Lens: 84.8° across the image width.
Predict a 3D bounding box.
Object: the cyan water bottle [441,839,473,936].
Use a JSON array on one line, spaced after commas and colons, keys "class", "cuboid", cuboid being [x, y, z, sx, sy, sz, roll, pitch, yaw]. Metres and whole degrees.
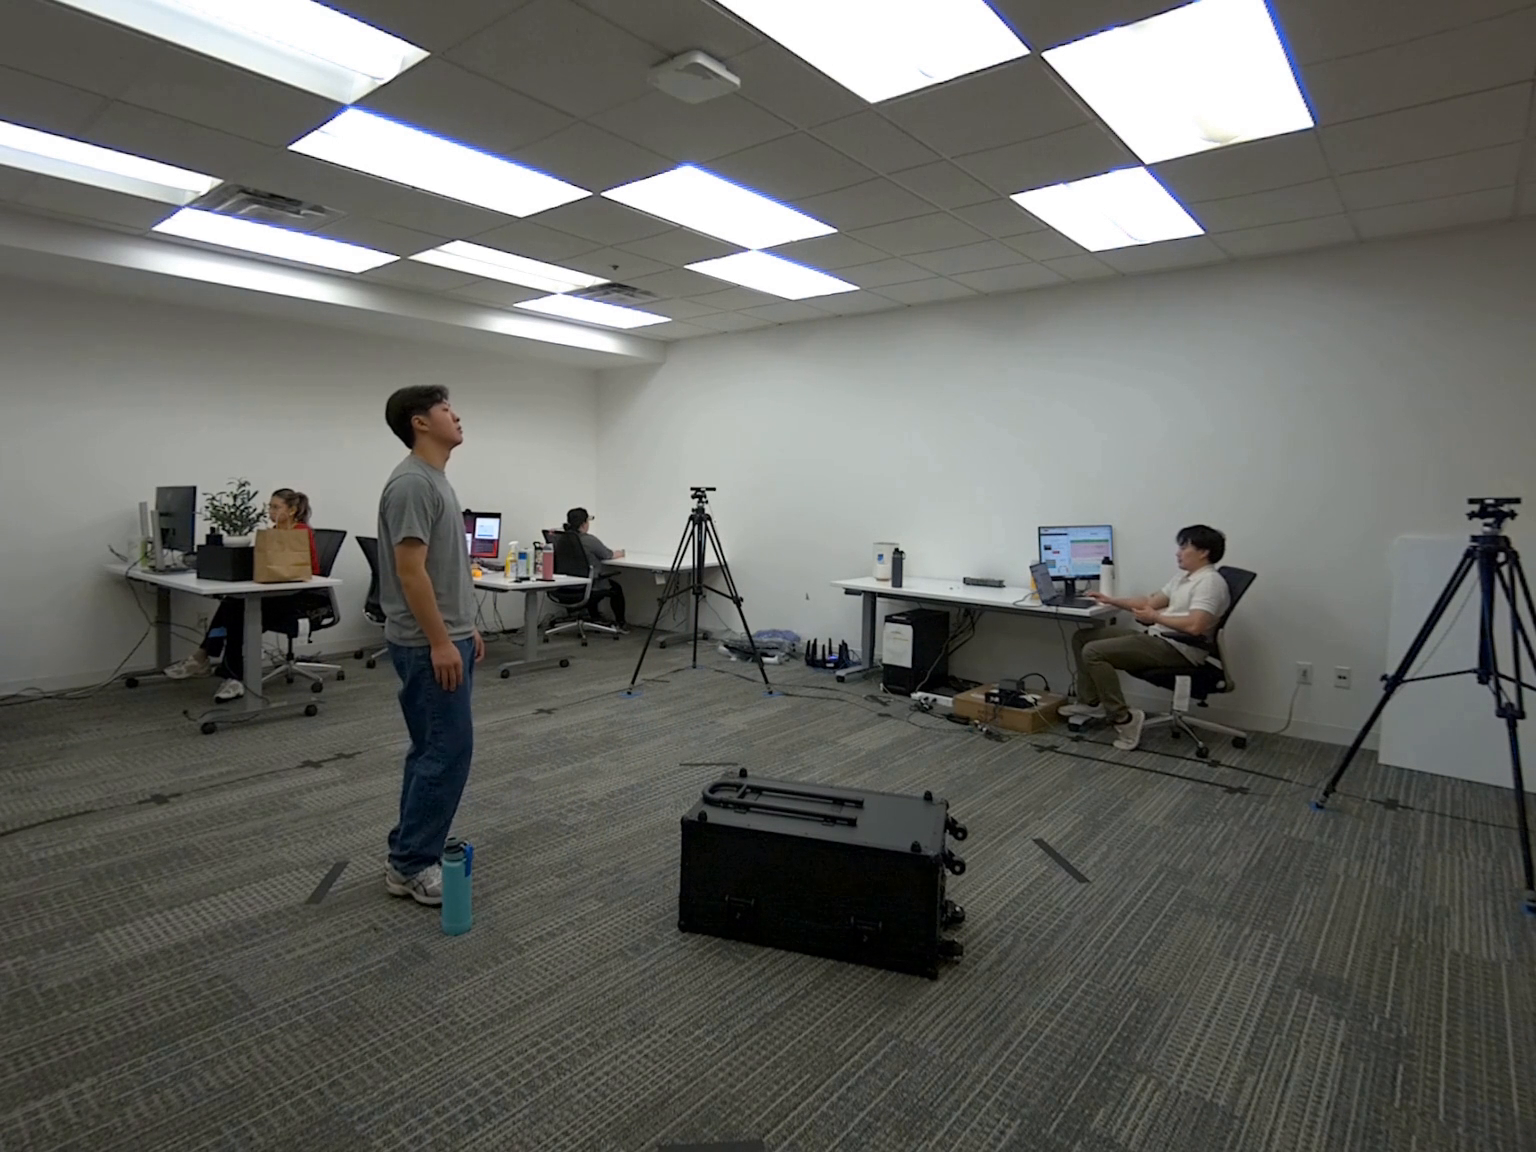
[{"class": "cyan water bottle", "cuboid": [-0.980, 0.962, 2.647, 0.092, 0.282, 0.093, 1, 4, -2]}]
